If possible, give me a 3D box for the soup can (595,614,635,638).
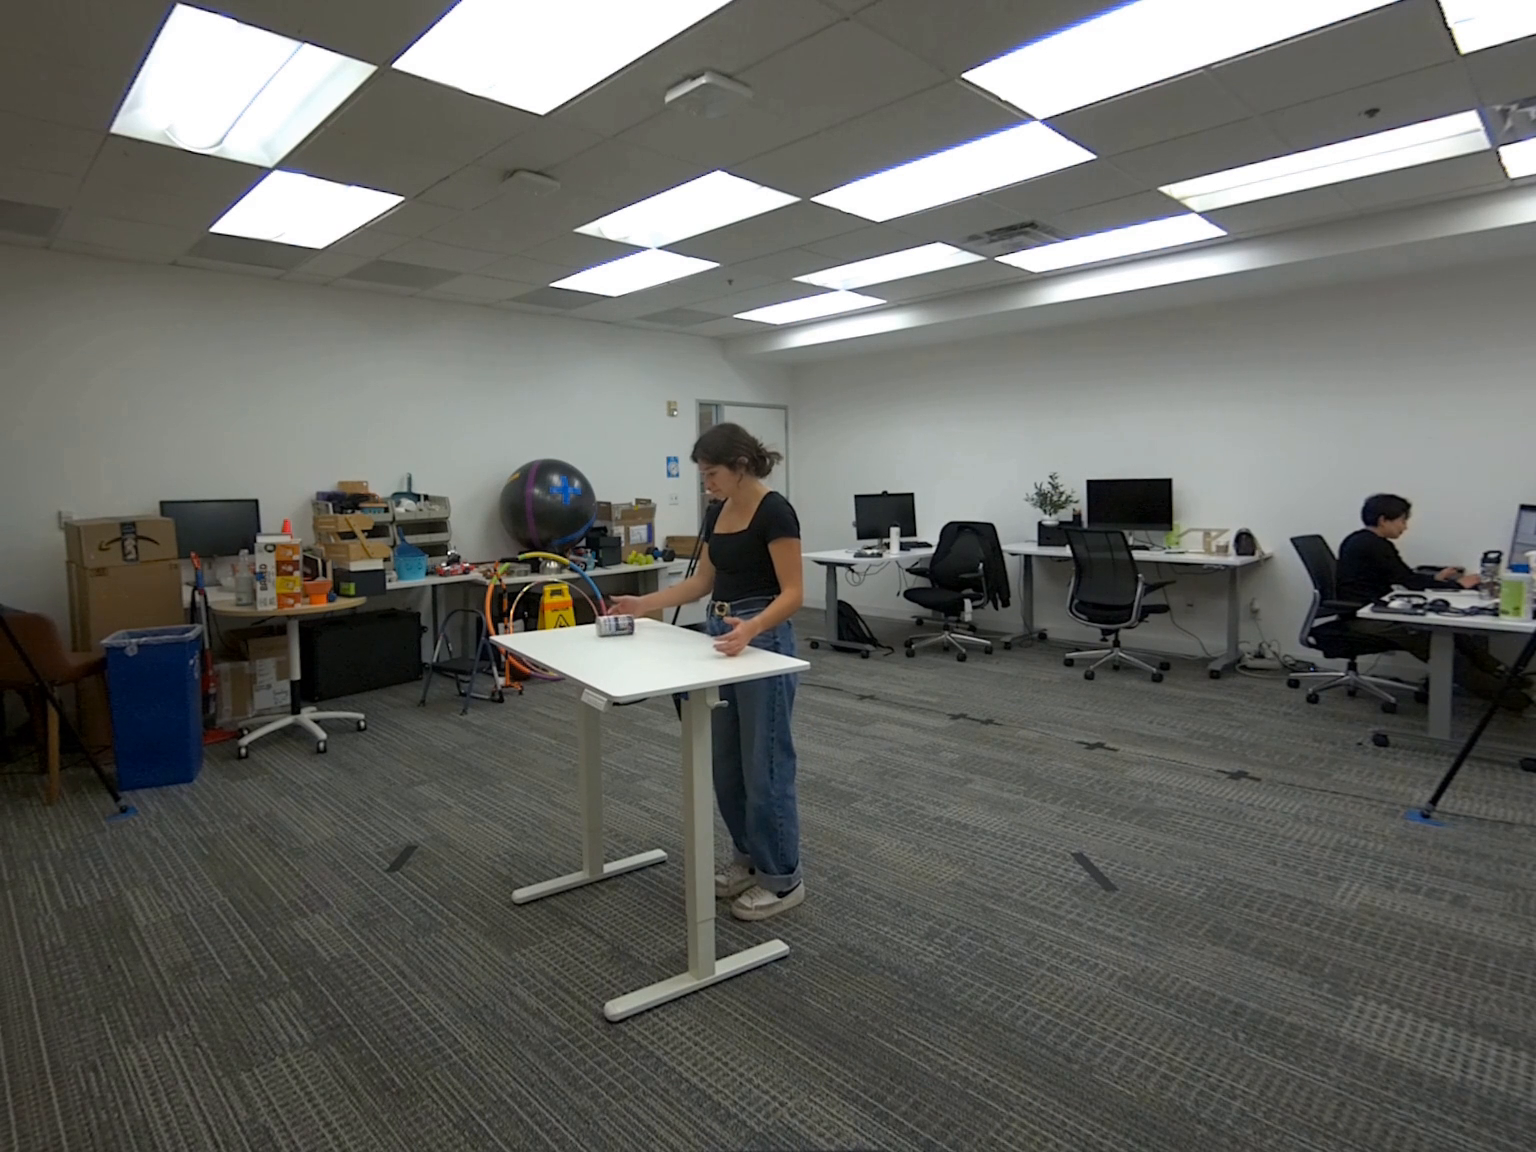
[{"bbox_3d":[-0.518,0.166,2.881,0.119,0.067,0.069,-3,5,-22],"label":"soup can"}]
